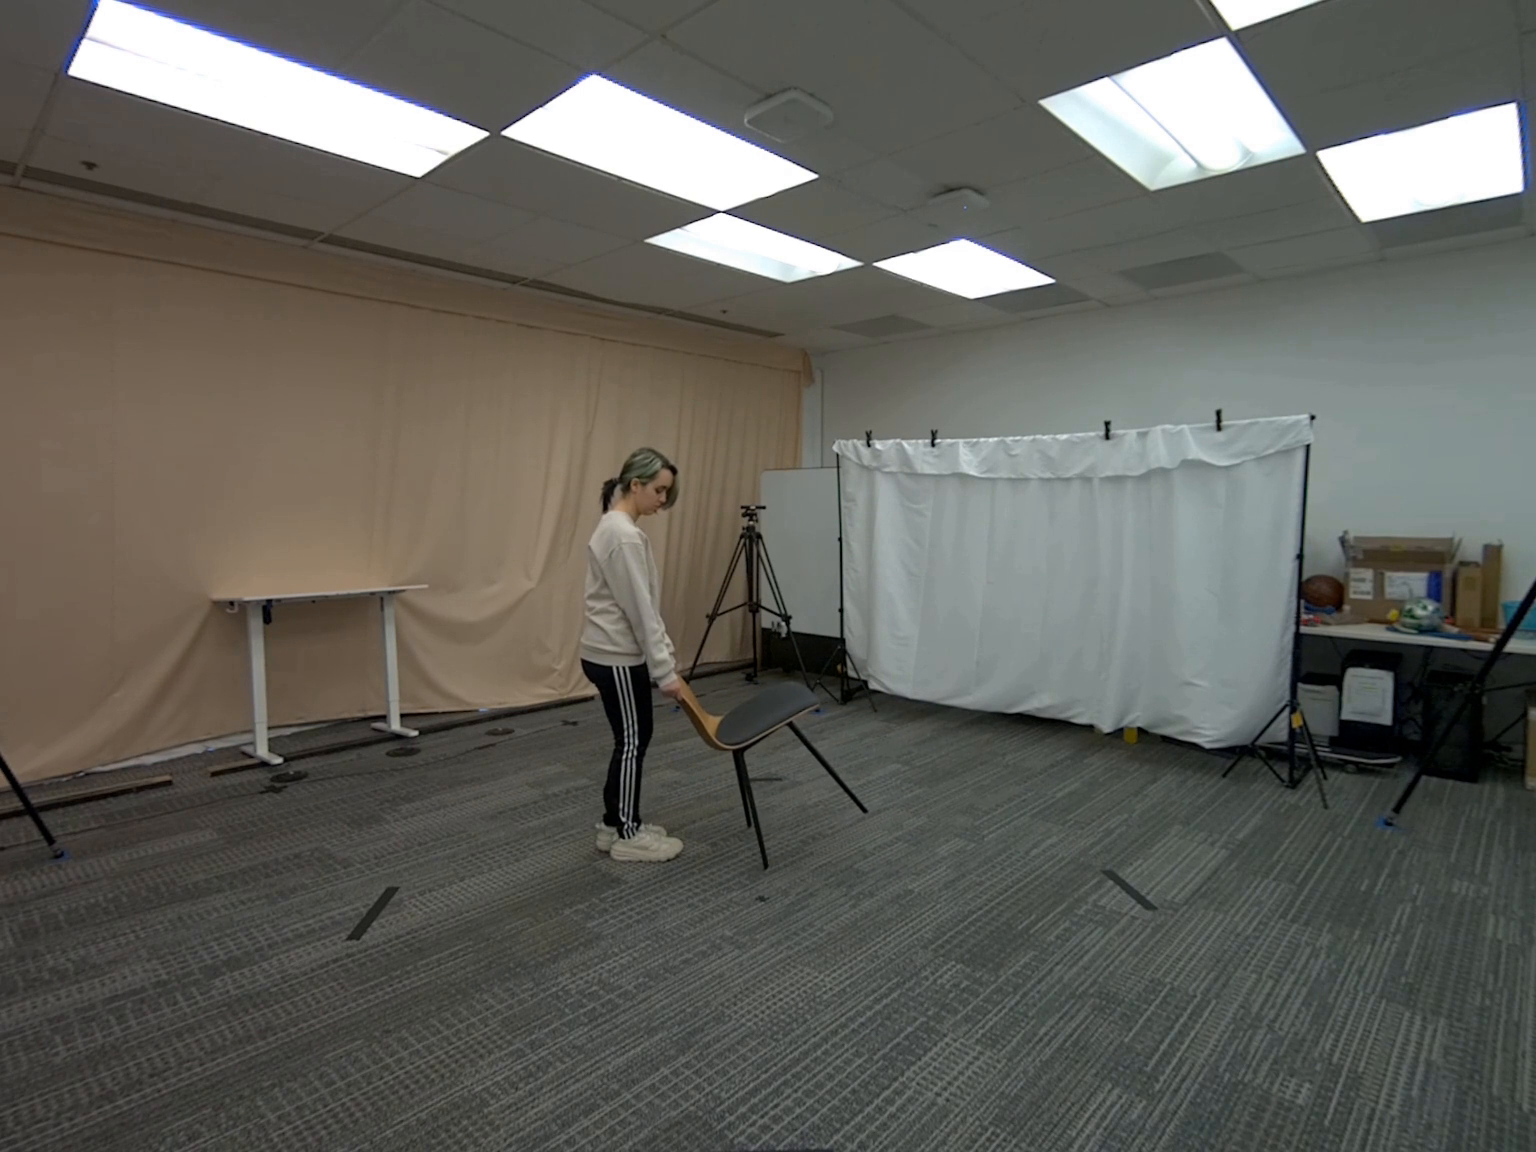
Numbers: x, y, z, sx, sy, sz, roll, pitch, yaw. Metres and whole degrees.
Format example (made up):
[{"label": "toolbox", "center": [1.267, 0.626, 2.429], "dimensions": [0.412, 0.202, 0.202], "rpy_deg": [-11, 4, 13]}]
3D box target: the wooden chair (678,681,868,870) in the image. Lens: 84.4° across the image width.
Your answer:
[{"label": "wooden chair", "center": [-0.031, 0.622, 3.406], "dimensions": [0.521, 0.871, 0.483], "rpy_deg": [-33, 6, -6]}]
